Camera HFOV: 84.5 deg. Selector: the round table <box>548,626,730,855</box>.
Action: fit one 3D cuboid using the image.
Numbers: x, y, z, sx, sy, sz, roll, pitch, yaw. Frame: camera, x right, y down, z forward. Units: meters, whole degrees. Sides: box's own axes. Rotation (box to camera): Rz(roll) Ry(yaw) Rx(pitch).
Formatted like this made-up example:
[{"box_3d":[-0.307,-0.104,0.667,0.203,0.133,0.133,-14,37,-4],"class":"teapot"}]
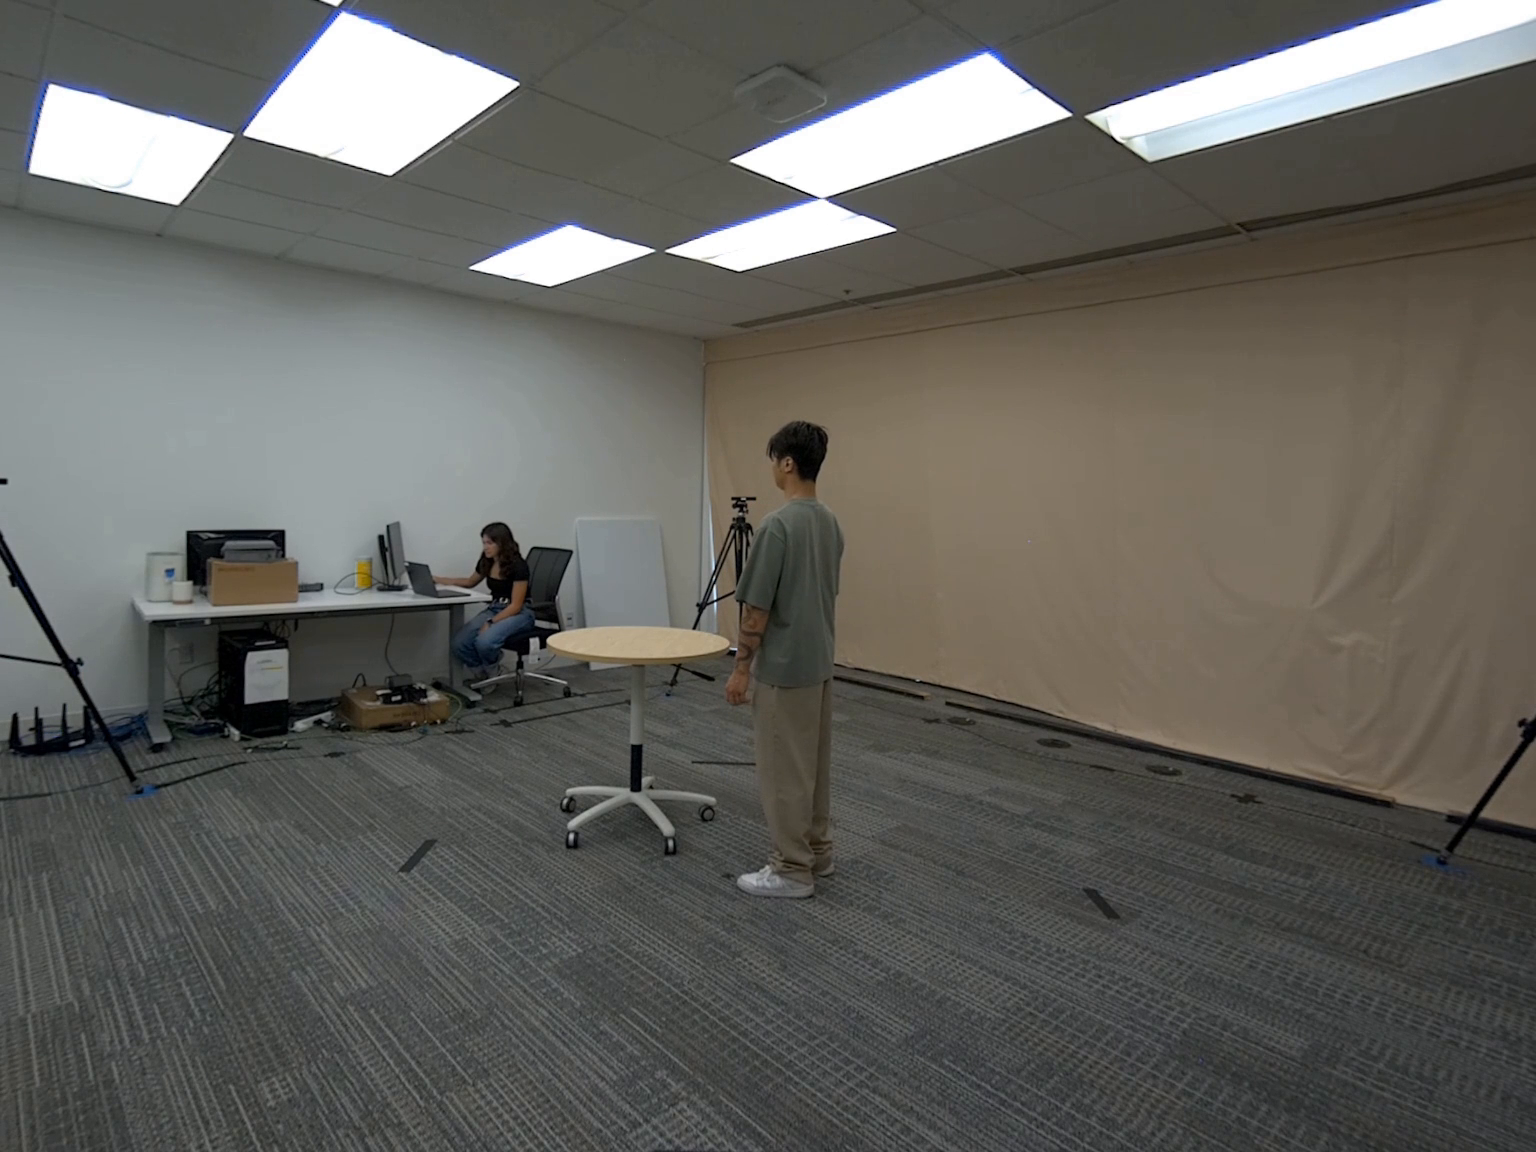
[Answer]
[{"box_3d":[-0.571,0.658,3.577,0.784,0.784,0.788,2,4,-2],"class":"round table"}]
